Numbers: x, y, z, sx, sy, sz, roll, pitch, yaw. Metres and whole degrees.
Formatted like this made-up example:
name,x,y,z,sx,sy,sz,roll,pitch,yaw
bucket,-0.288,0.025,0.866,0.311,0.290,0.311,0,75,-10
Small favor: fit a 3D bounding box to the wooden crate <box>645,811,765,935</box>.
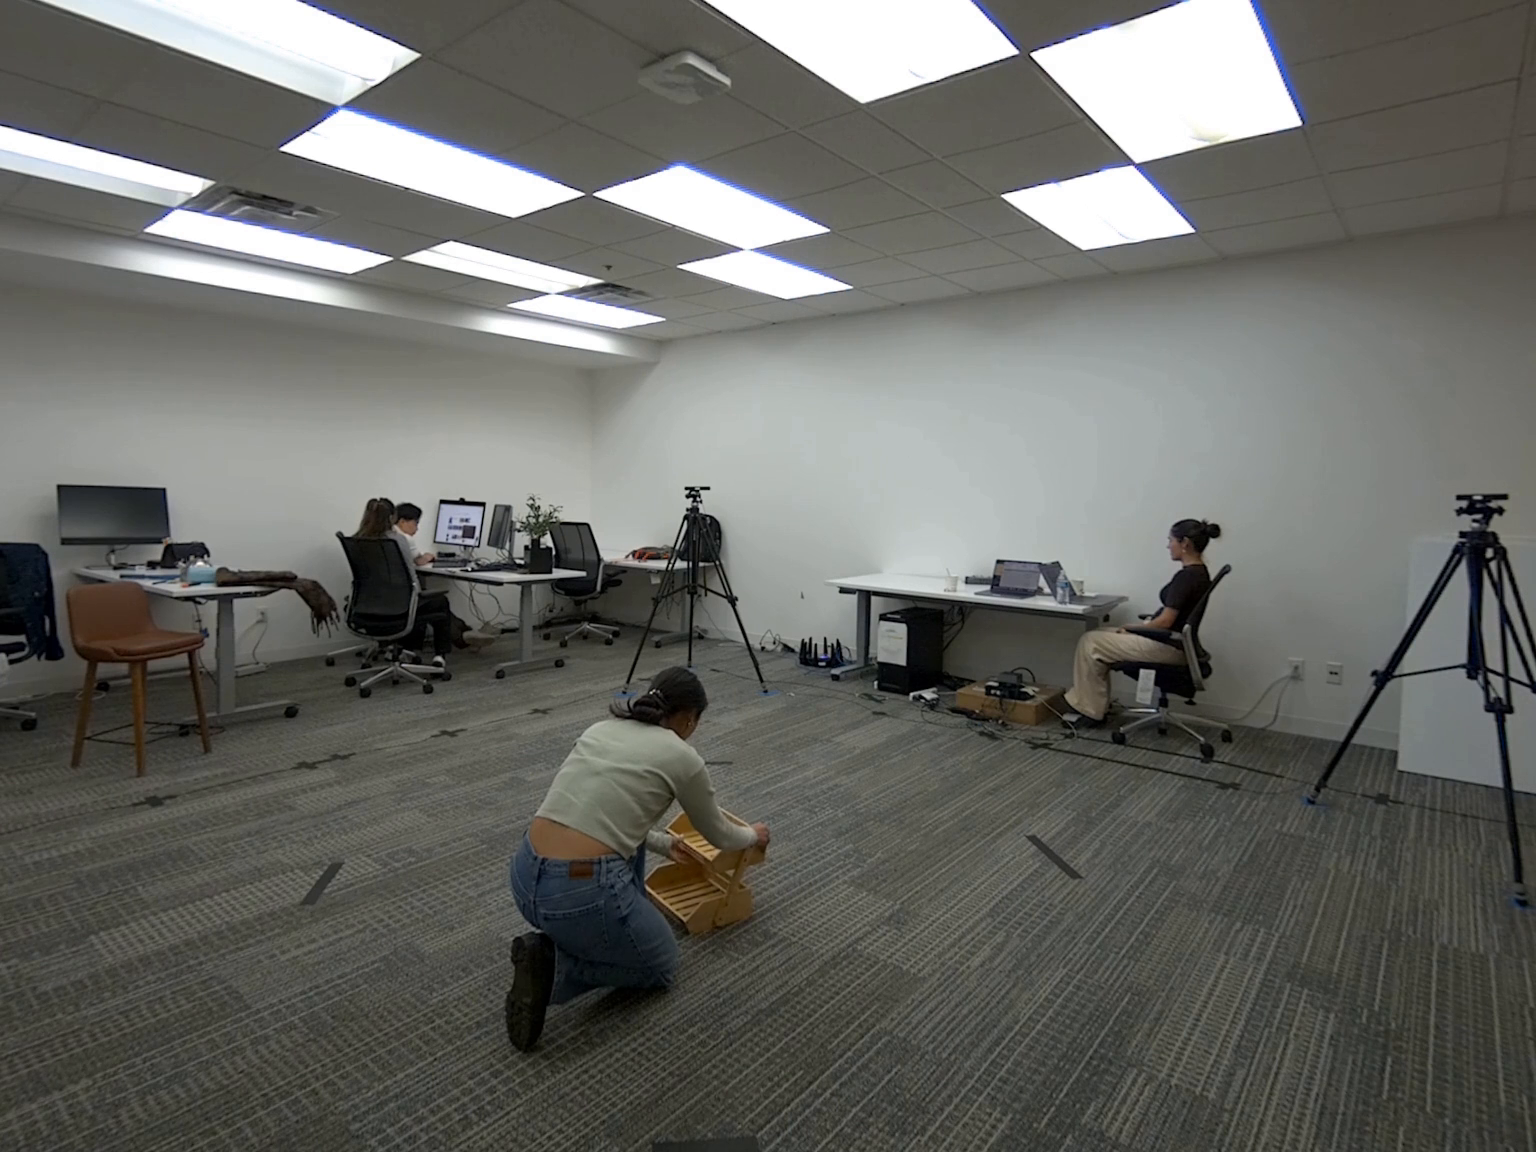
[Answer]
name,x,y,z,sx,sy,sz,roll,pitch,yaw
wooden crate,-0.233,0.960,2.824,0.293,0.272,0.335,-2,5,-35
